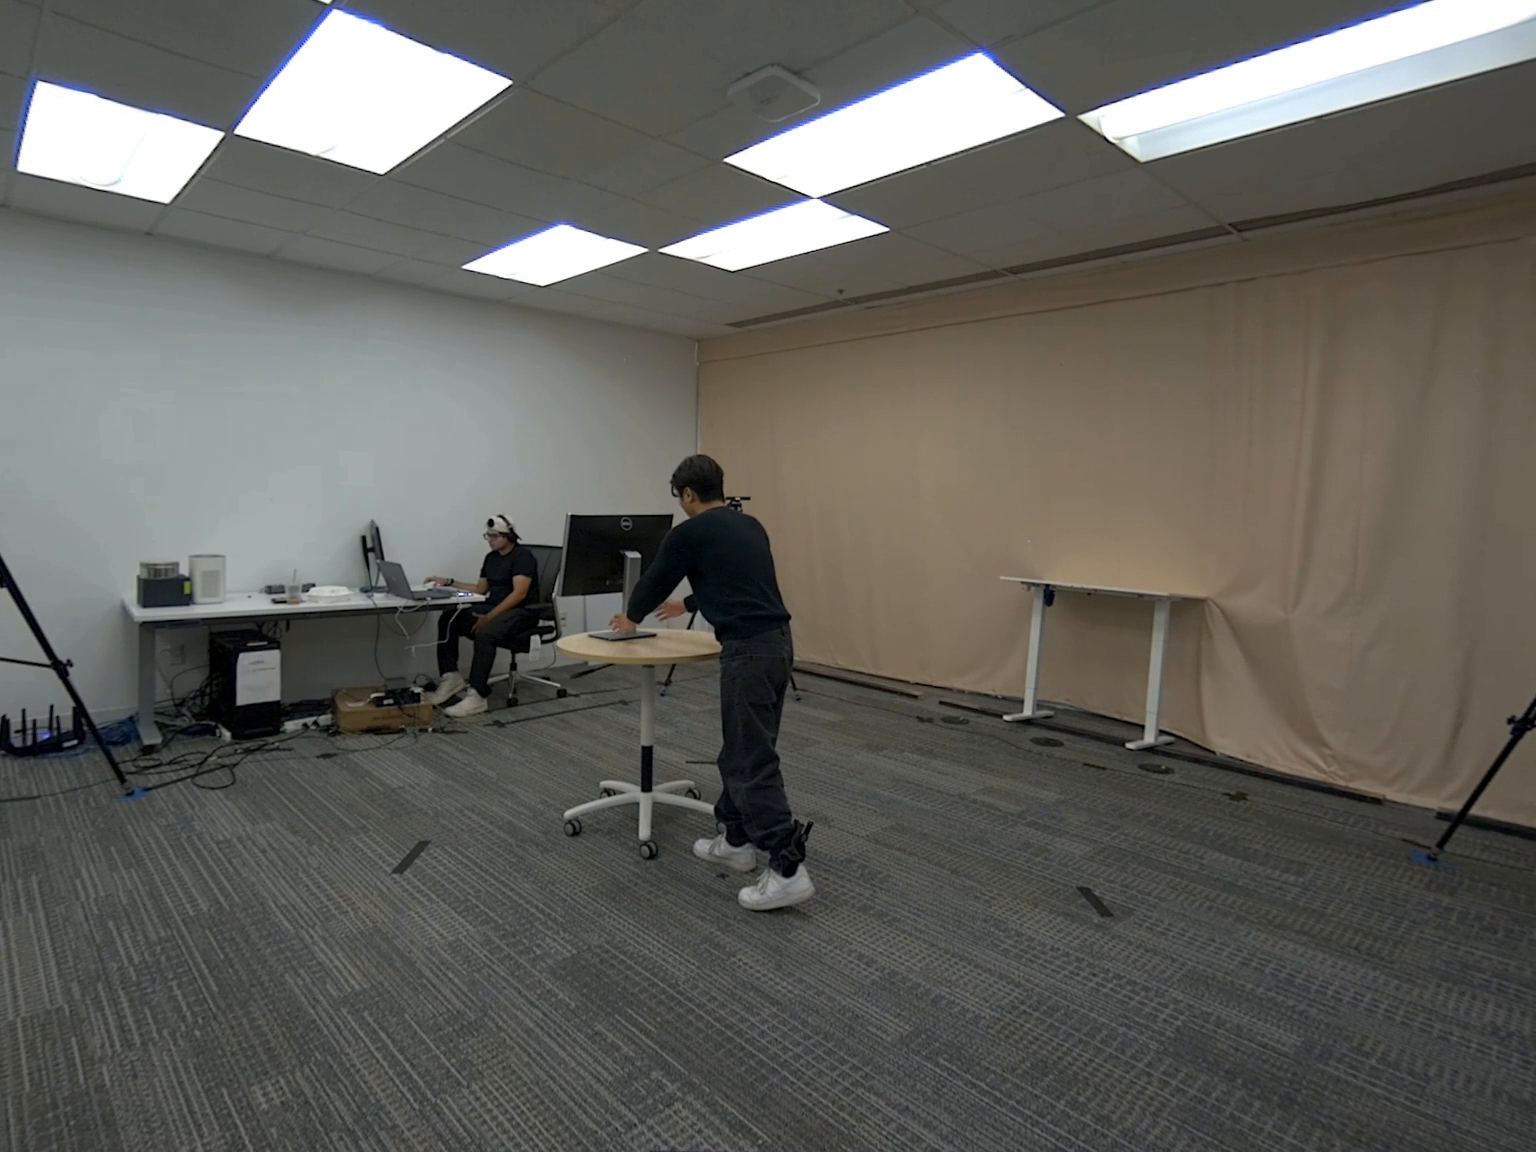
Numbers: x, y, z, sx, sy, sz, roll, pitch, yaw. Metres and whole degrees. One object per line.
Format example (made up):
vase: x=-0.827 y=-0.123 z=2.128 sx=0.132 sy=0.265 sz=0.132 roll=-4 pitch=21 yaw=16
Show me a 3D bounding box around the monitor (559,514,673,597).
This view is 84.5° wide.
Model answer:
monitor: x=-0.645 y=-0.001 z=3.680 sx=0.192 sy=0.521 sz=0.527 roll=2 pitch=4 yaw=42
